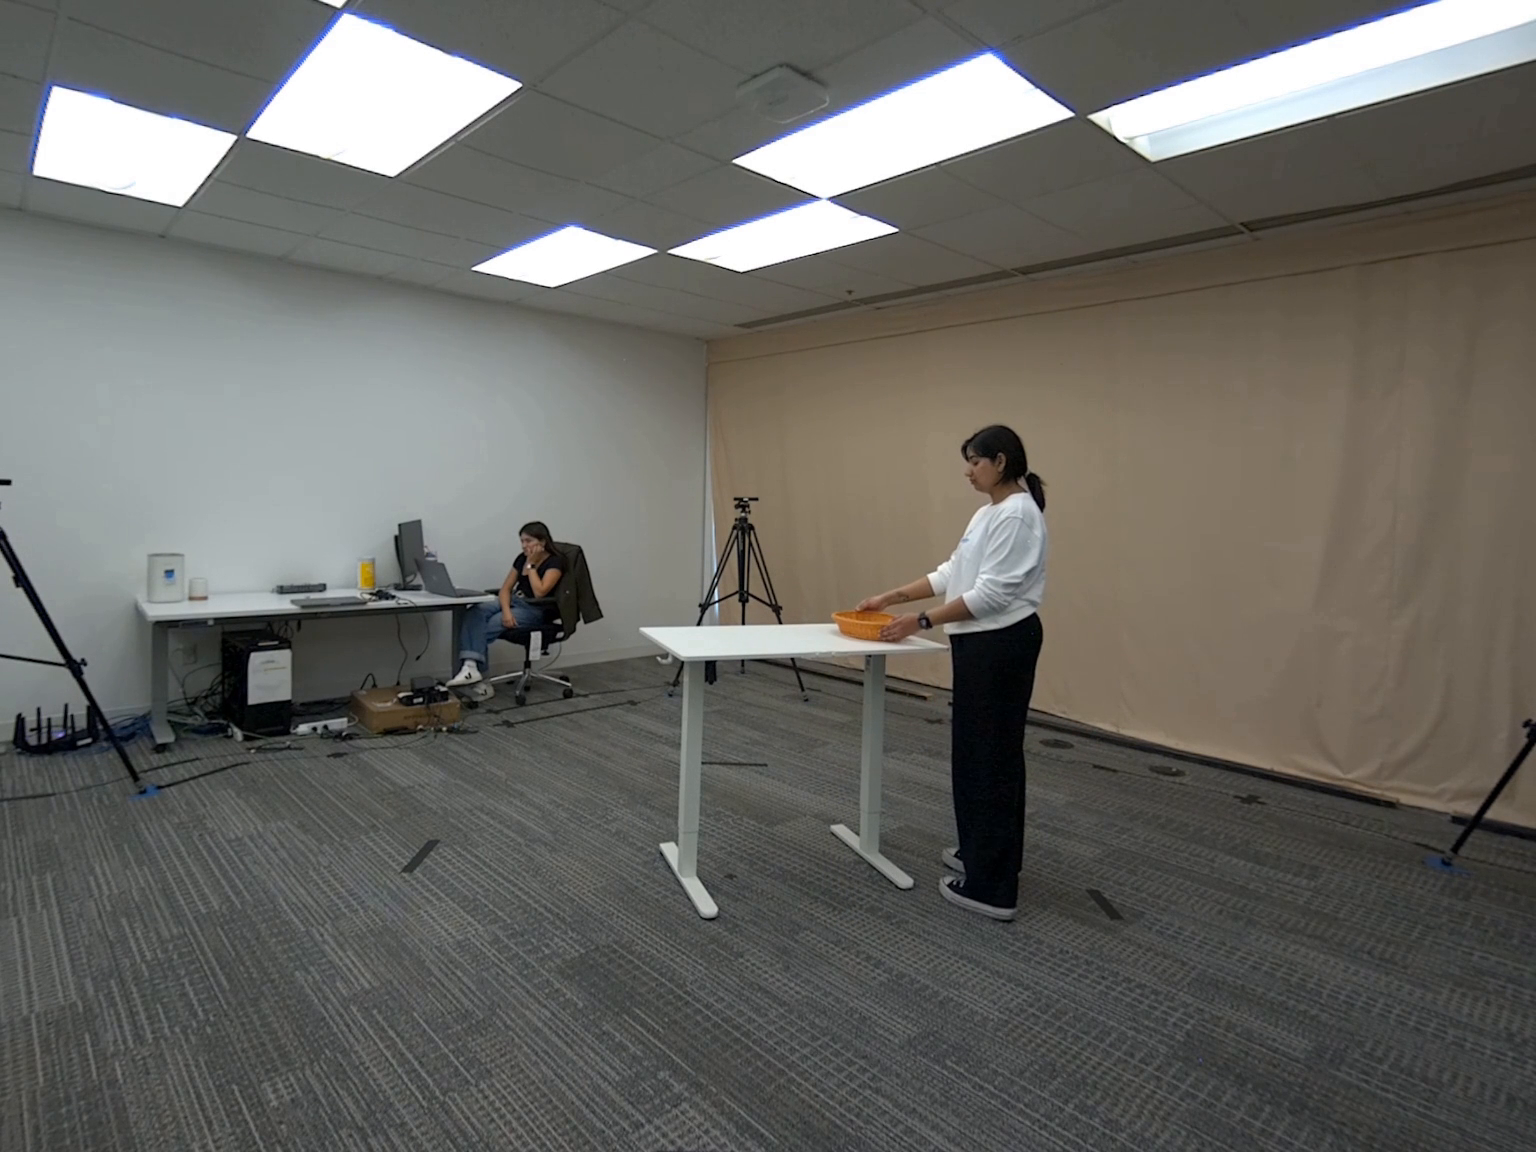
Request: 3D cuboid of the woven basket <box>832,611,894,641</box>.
[{"bbox_3d":[0.406,0.190,3.244,0.248,0.073,0.357,-3,7,-21],"label":"woven basket"}]
